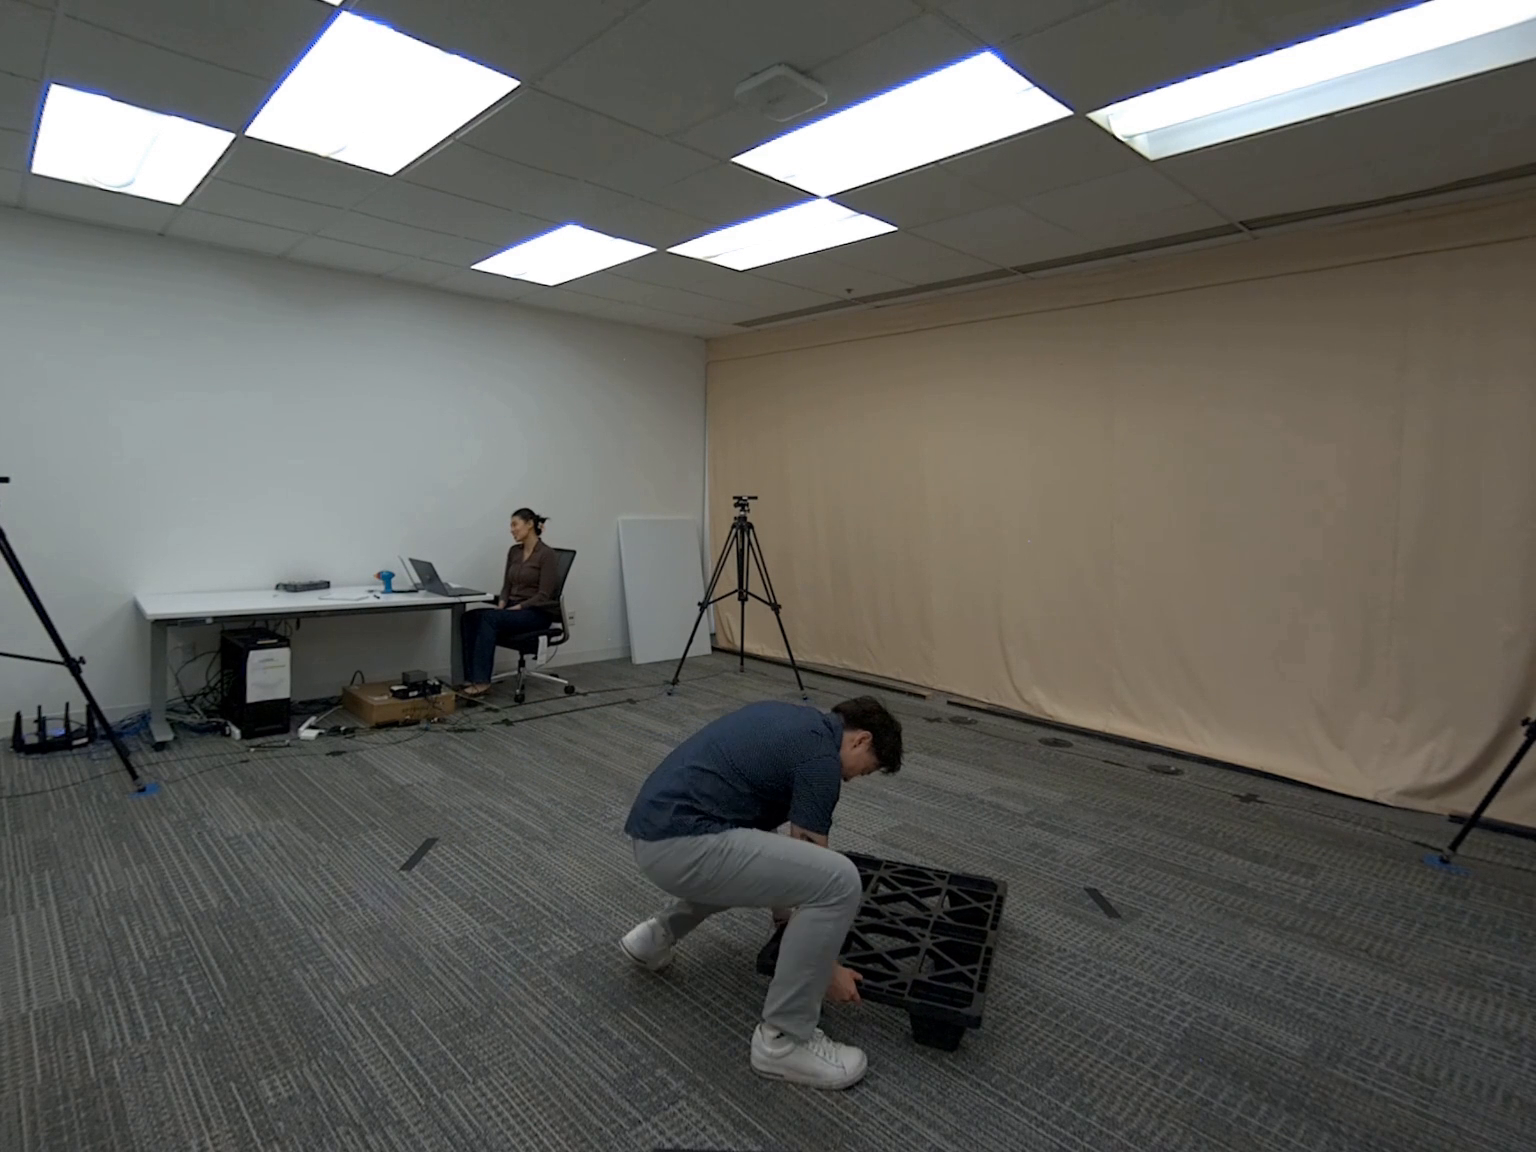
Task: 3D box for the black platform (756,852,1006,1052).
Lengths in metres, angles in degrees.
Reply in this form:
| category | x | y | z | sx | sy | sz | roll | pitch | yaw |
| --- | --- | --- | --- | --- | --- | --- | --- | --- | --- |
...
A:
| category | x | y | z | sx | sy | sz | roll | pitch | yaw |
| --- | --- | --- | --- | --- | --- | --- | --- | --- | --- |
| black platform | 0.379 | 1.098 | 2.560 | 0.615 | 0.143 | 0.795 | 4 | 7 | 20 |
